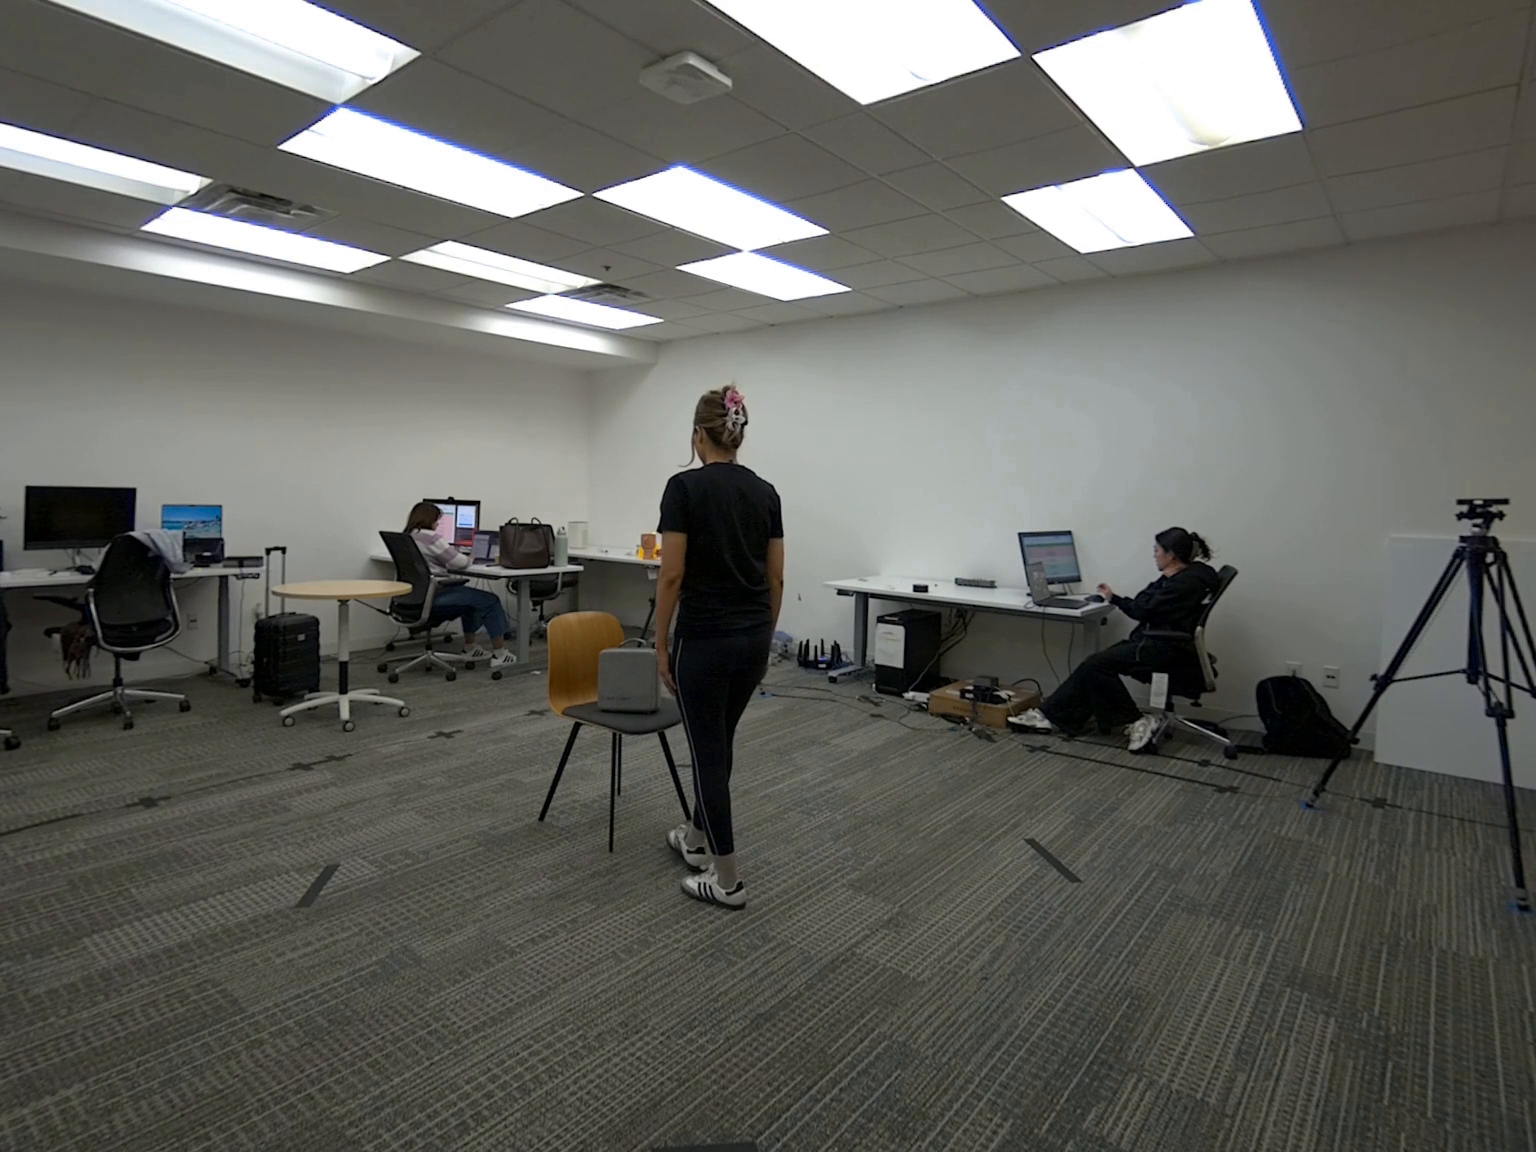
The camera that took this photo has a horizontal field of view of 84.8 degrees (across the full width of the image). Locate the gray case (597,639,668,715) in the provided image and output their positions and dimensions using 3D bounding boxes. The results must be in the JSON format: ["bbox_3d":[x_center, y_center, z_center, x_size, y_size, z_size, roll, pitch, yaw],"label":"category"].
[{"bbox_3d":[-0.593,0.420,3.500,0.261,0.262,0.102,-1,-7,14],"label":"gray case"}]
